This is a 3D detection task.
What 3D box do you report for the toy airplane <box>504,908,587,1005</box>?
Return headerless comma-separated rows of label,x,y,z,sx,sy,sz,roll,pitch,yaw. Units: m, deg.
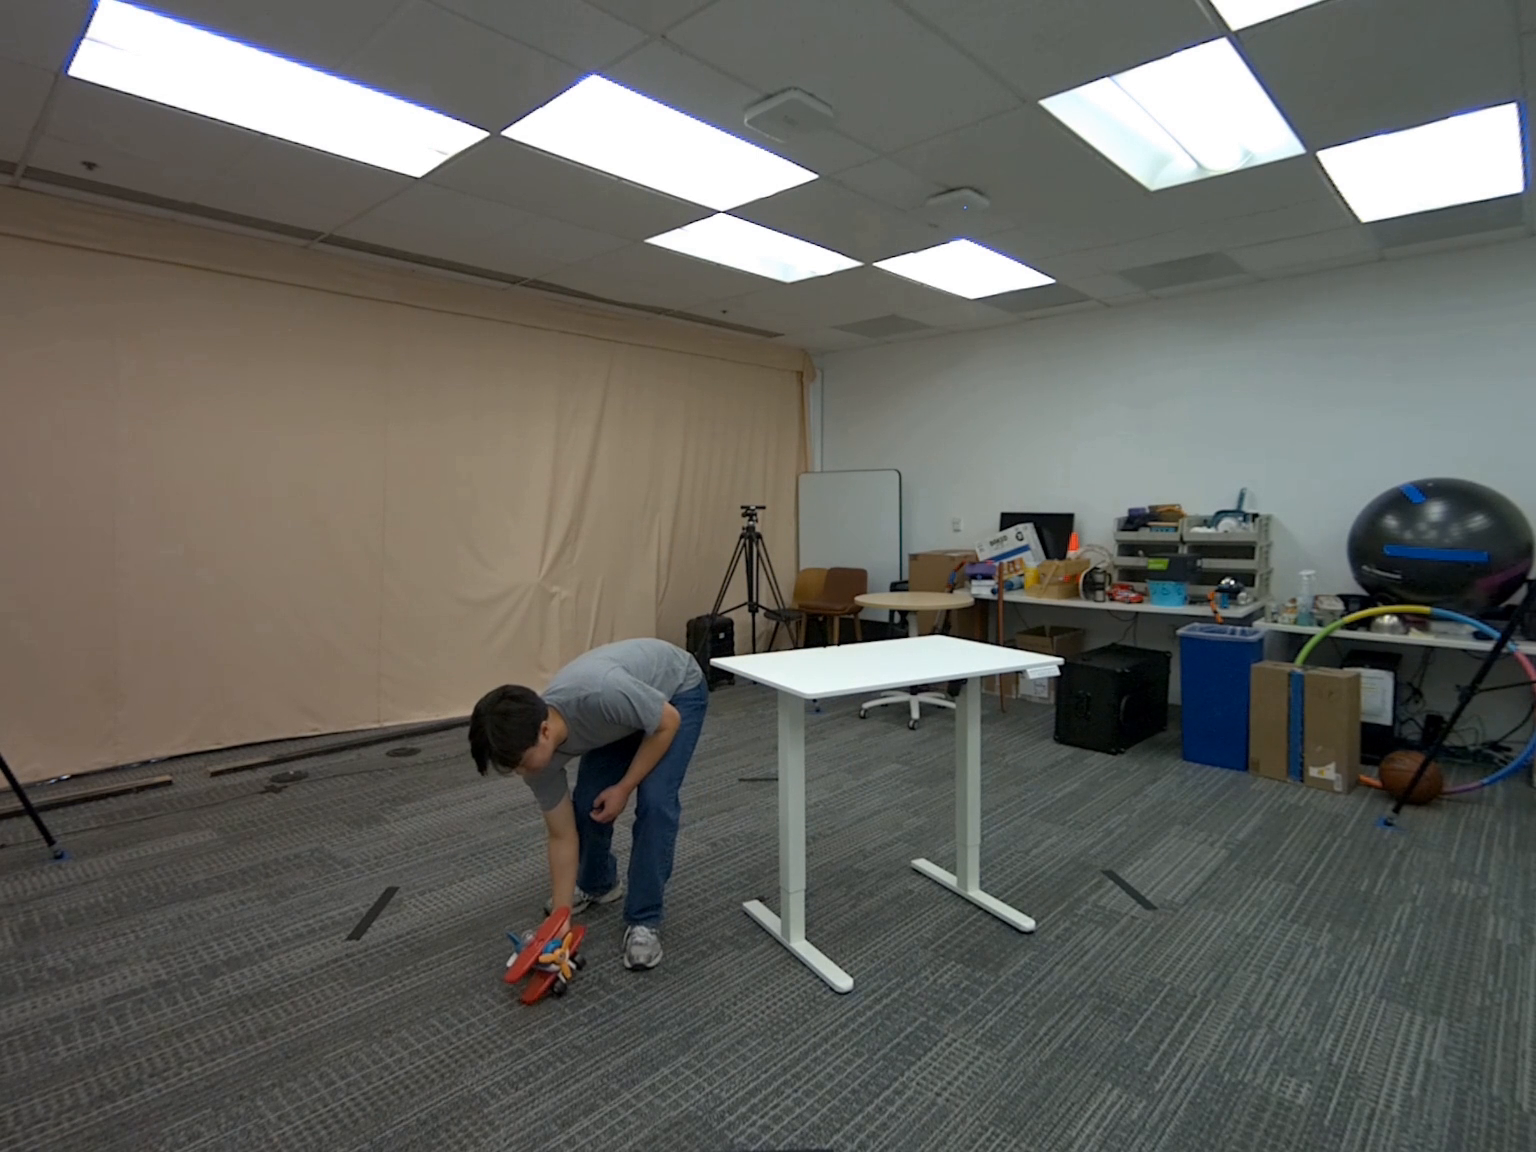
toy airplane,-0.673,1.121,2.453,0.262,0.153,0.254,-17,26,13
